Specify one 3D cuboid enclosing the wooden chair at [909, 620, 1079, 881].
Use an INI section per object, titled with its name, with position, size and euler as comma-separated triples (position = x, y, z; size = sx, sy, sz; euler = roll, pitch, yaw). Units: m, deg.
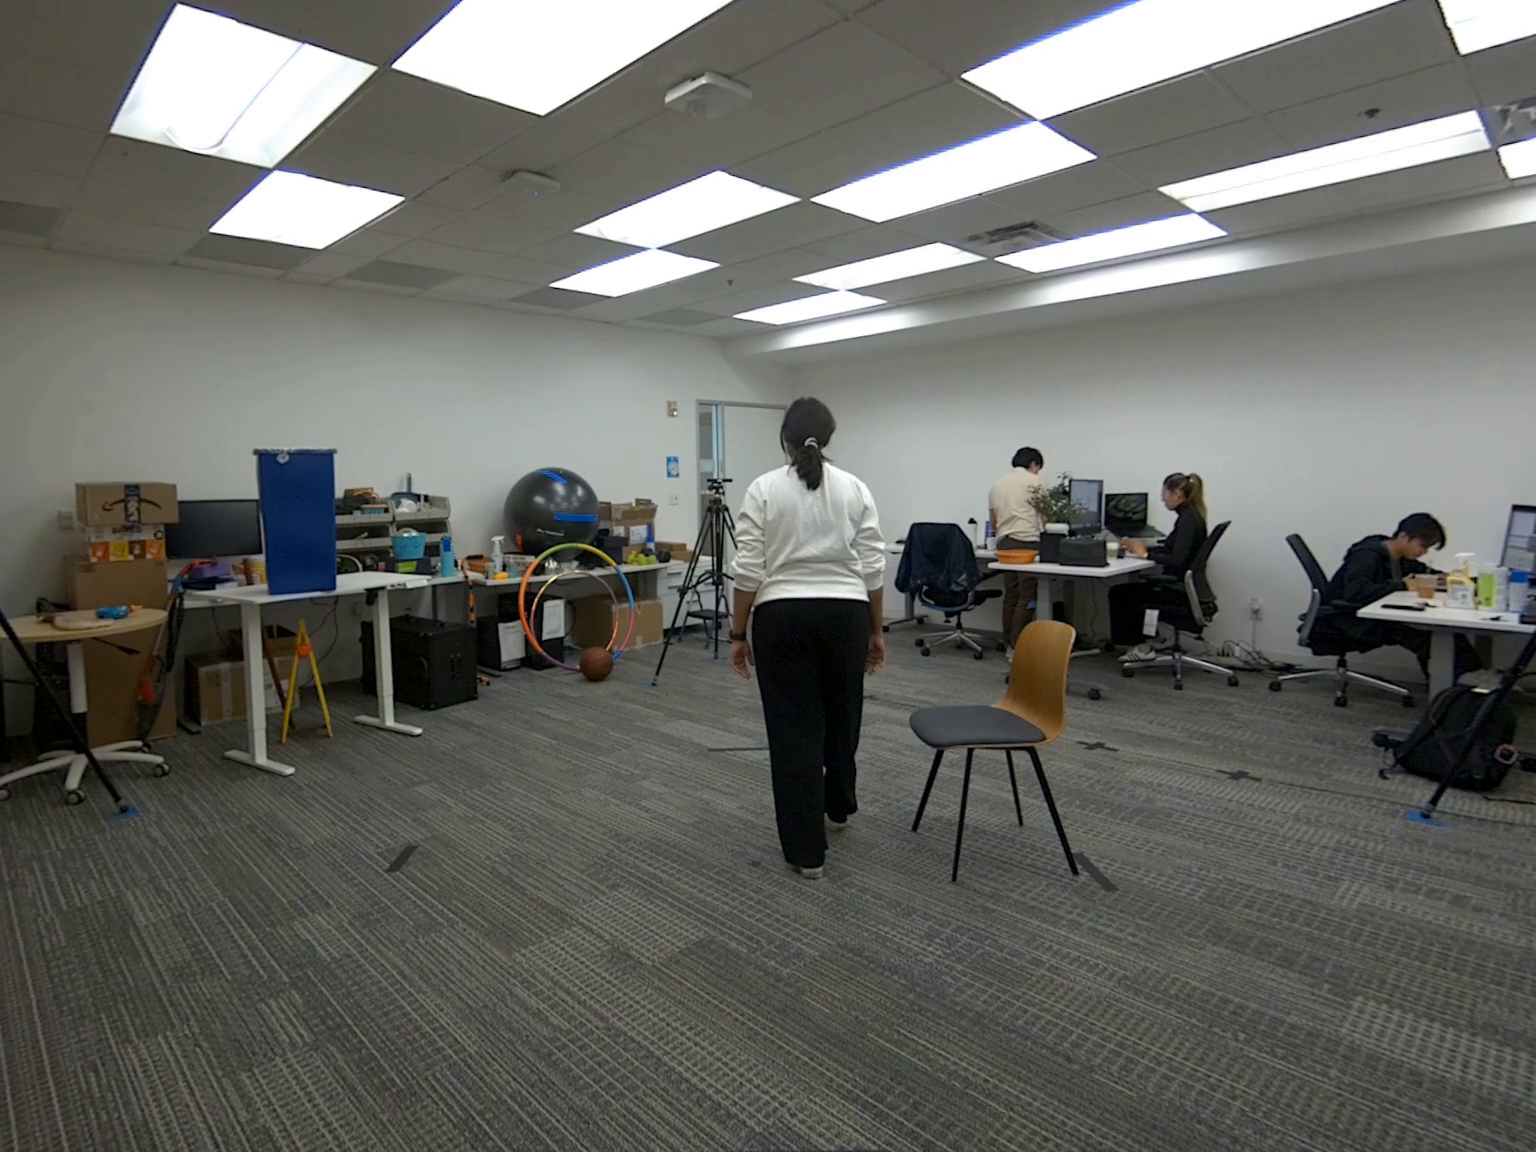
[wooden chair]
position = 0.807, 0.596, 3.144
size = 0.520, 0.874, 0.483
euler = 3, 4, -7
